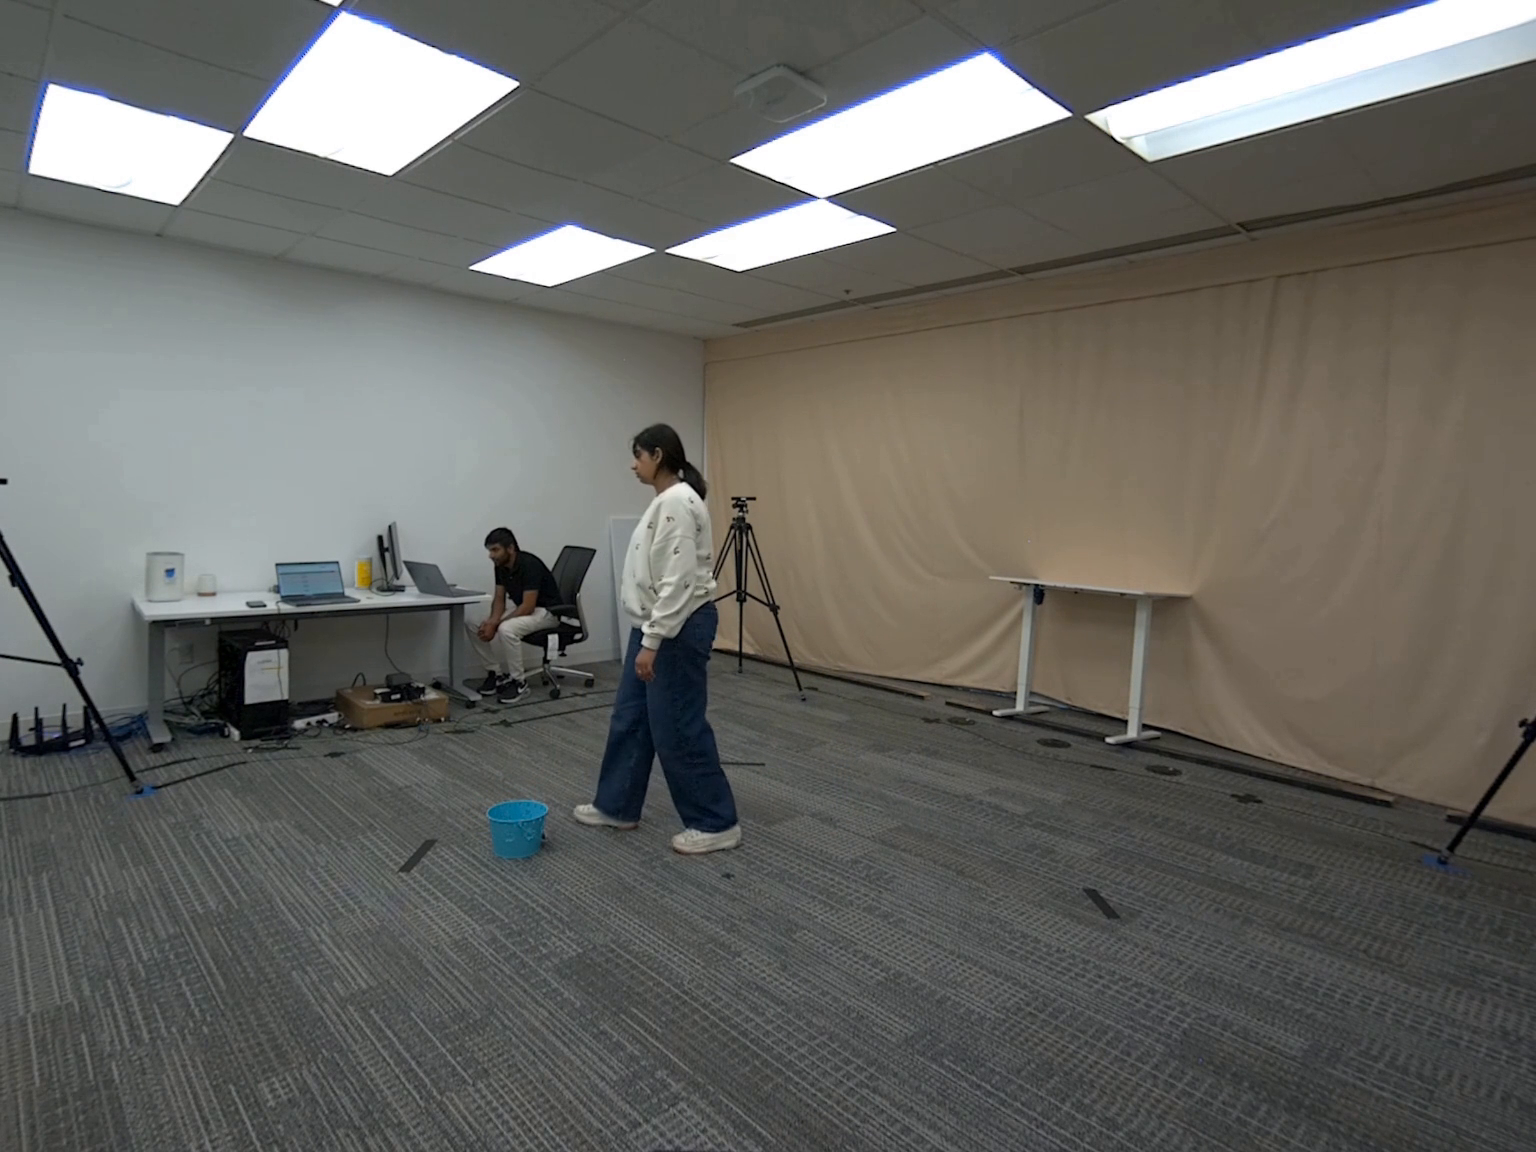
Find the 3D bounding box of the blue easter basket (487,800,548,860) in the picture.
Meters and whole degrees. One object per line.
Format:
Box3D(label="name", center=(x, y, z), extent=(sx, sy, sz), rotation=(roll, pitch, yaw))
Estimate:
Box3D(label="blue easter basket", center=(-0.980, 0.989, 3.294), extent=(0.243, 0.155, 0.244), rotation=(2, 5, -2))
